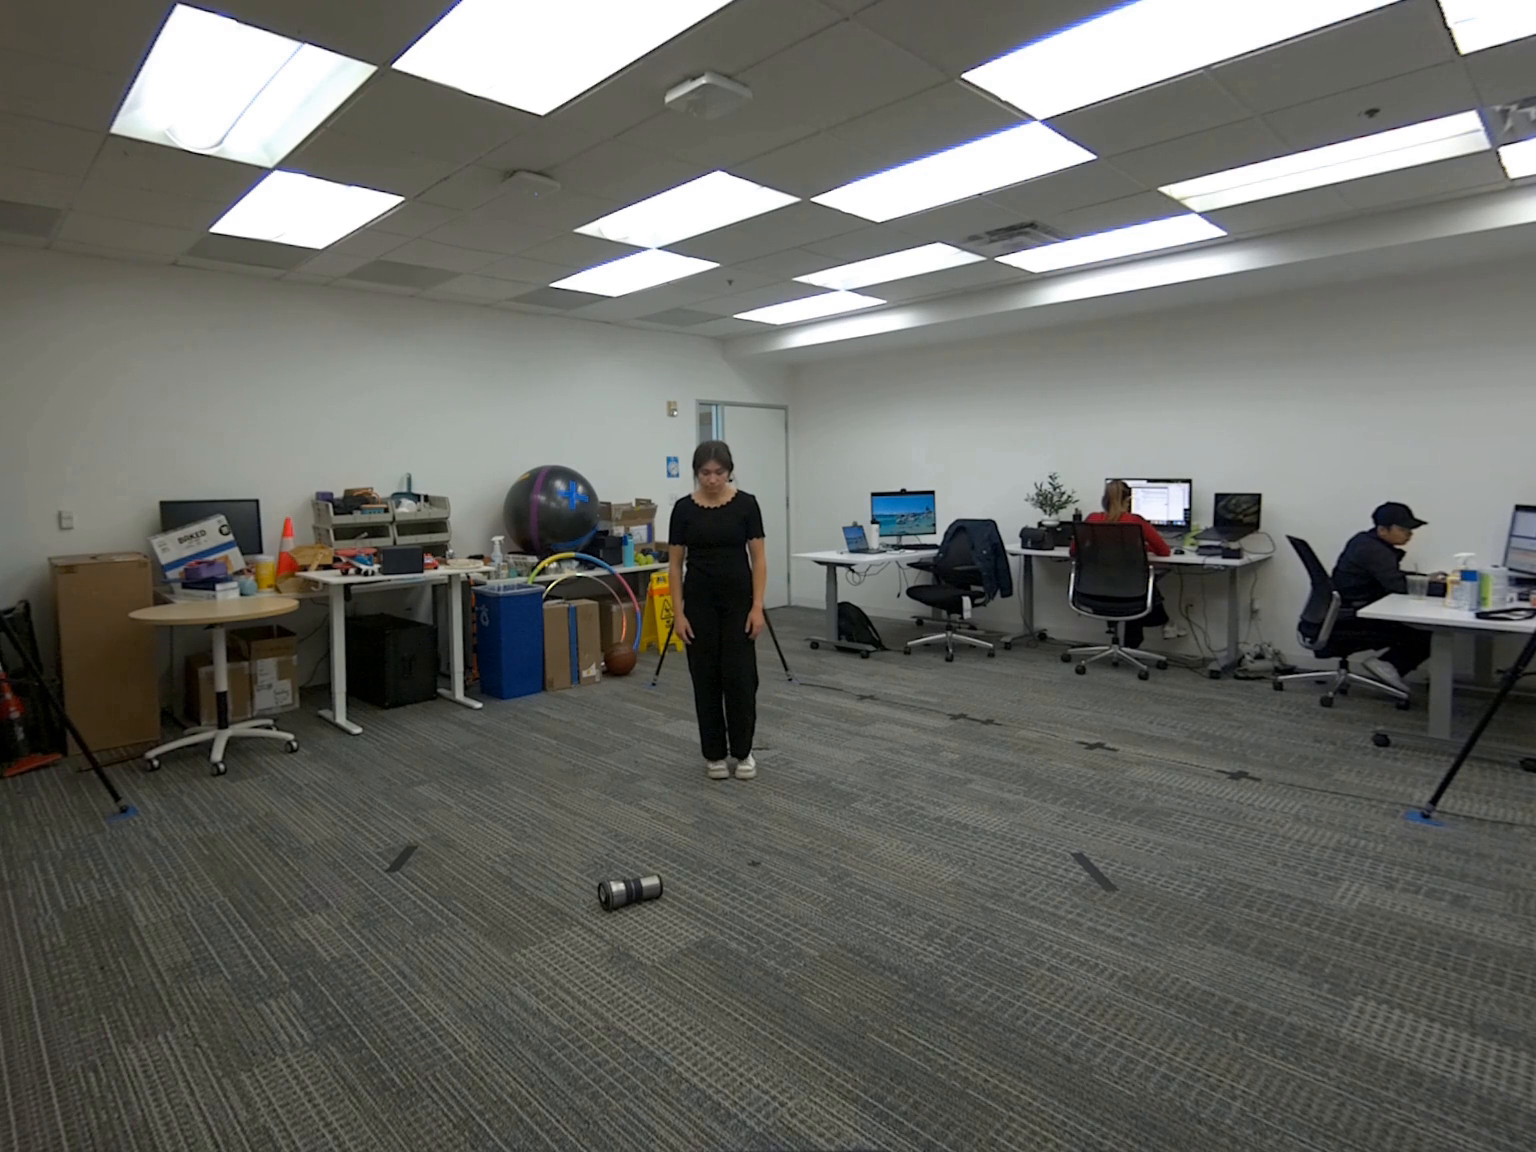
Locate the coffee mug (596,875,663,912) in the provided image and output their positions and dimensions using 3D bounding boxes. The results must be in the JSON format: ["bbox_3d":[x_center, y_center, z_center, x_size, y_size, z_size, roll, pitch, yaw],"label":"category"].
[{"bbox_3d":[-0.459,1.035,2.849,0.198,0.087,0.126,-3,18,-30],"label":"coffee mug"}]
